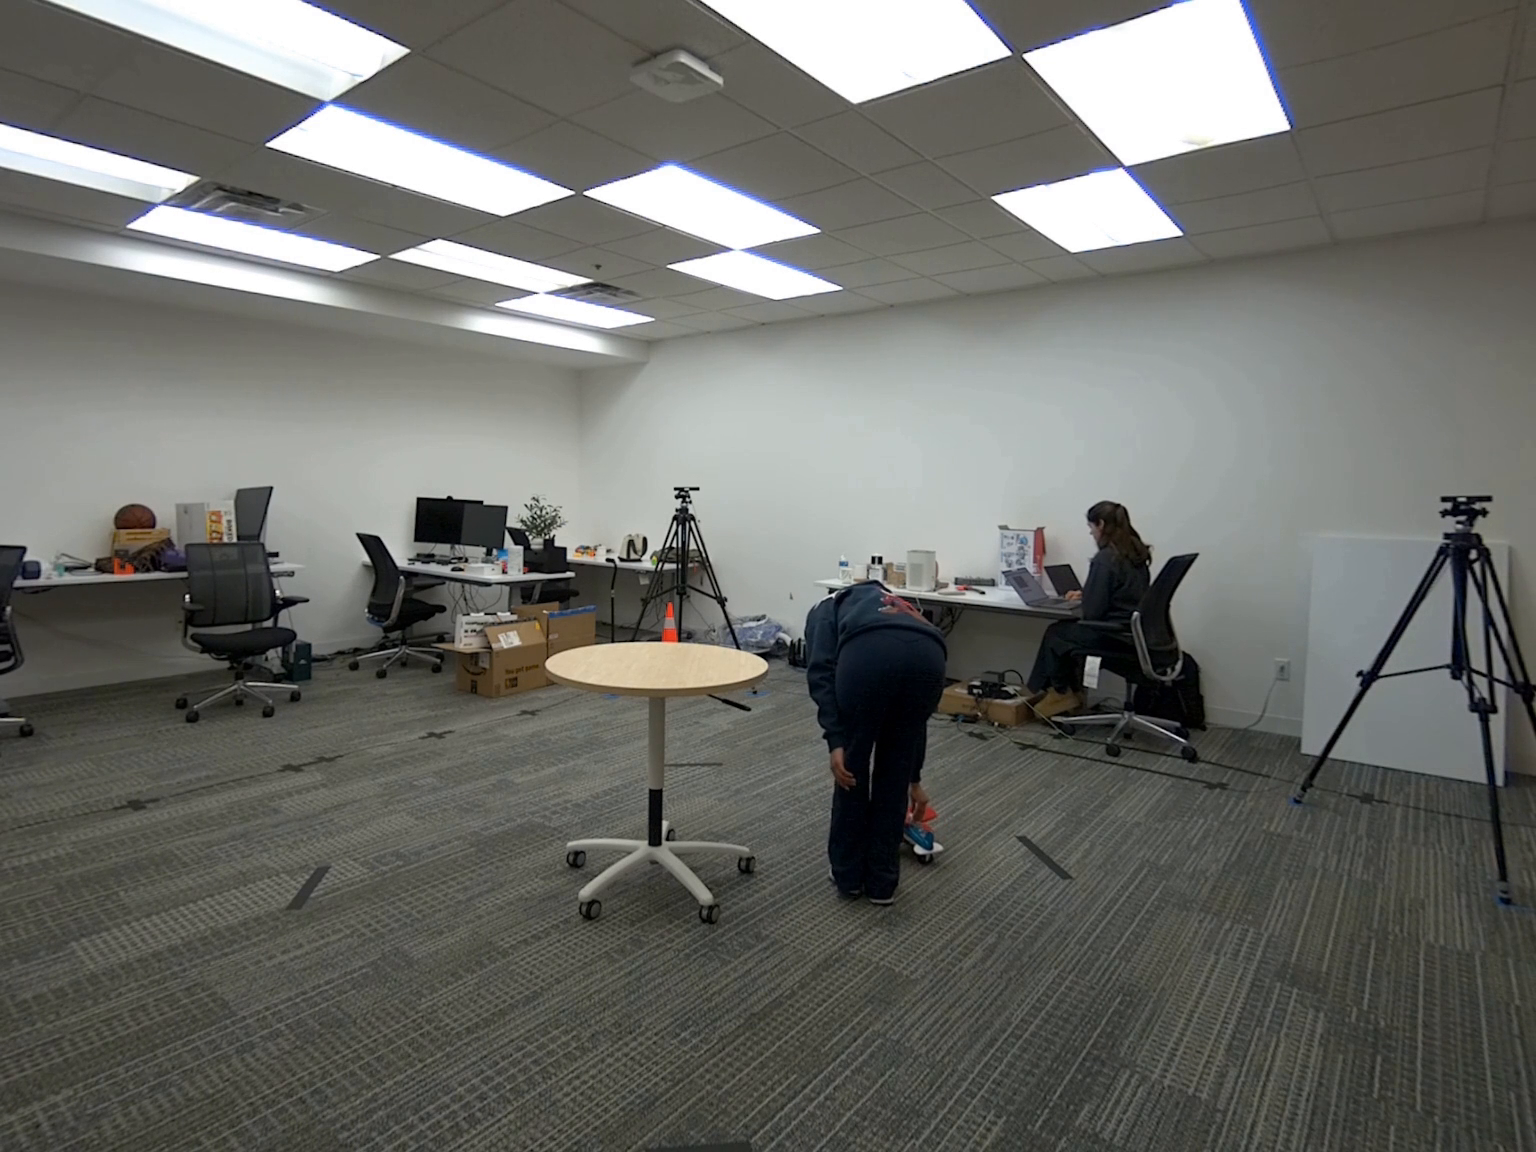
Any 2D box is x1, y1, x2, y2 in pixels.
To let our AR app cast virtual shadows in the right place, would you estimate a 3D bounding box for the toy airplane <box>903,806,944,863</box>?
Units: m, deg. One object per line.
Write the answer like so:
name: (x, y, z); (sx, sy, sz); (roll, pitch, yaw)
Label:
toy airplane: (0.562, 0.989, 3.288); (0.268, 0.156, 0.244); (5, 6, 37)
